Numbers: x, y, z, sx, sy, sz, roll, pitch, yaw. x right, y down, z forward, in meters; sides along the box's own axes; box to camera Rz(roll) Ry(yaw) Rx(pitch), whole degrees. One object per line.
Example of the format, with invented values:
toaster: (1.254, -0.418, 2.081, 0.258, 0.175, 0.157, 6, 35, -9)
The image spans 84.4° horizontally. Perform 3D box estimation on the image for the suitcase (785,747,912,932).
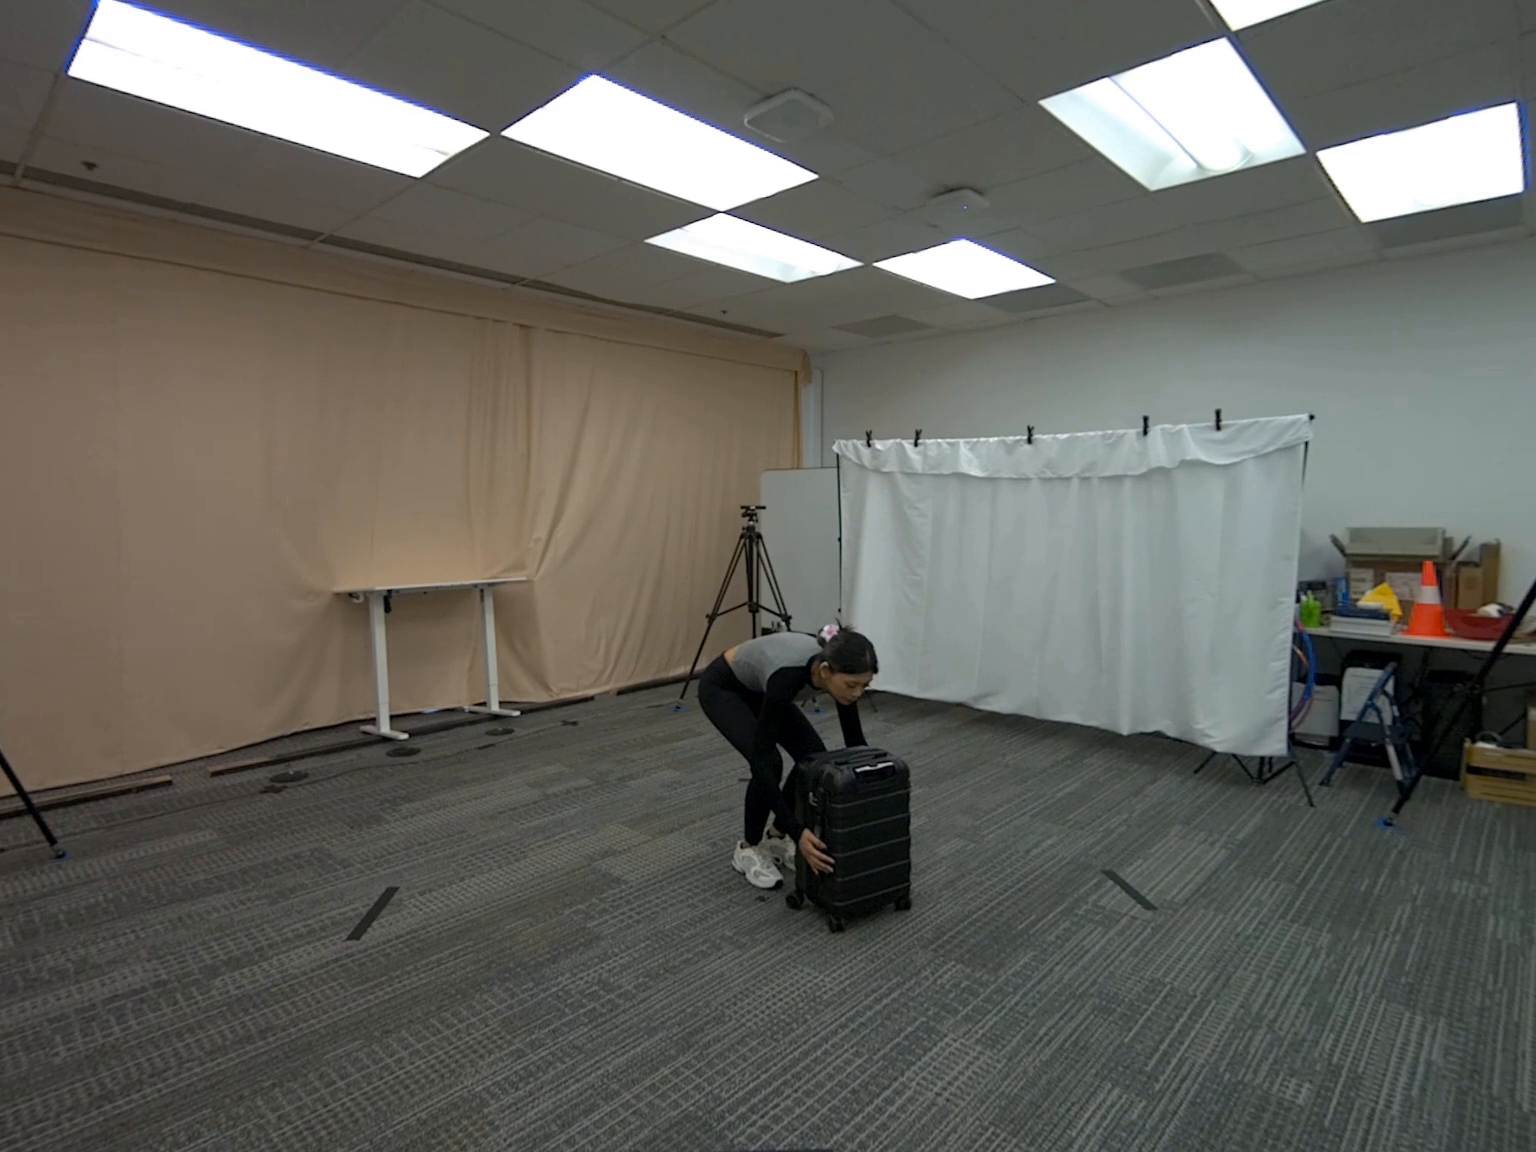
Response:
suitcase: (0.301, 0.875, 2.880, 0.365, 0.548, 0.256, -3, 5, -32)
